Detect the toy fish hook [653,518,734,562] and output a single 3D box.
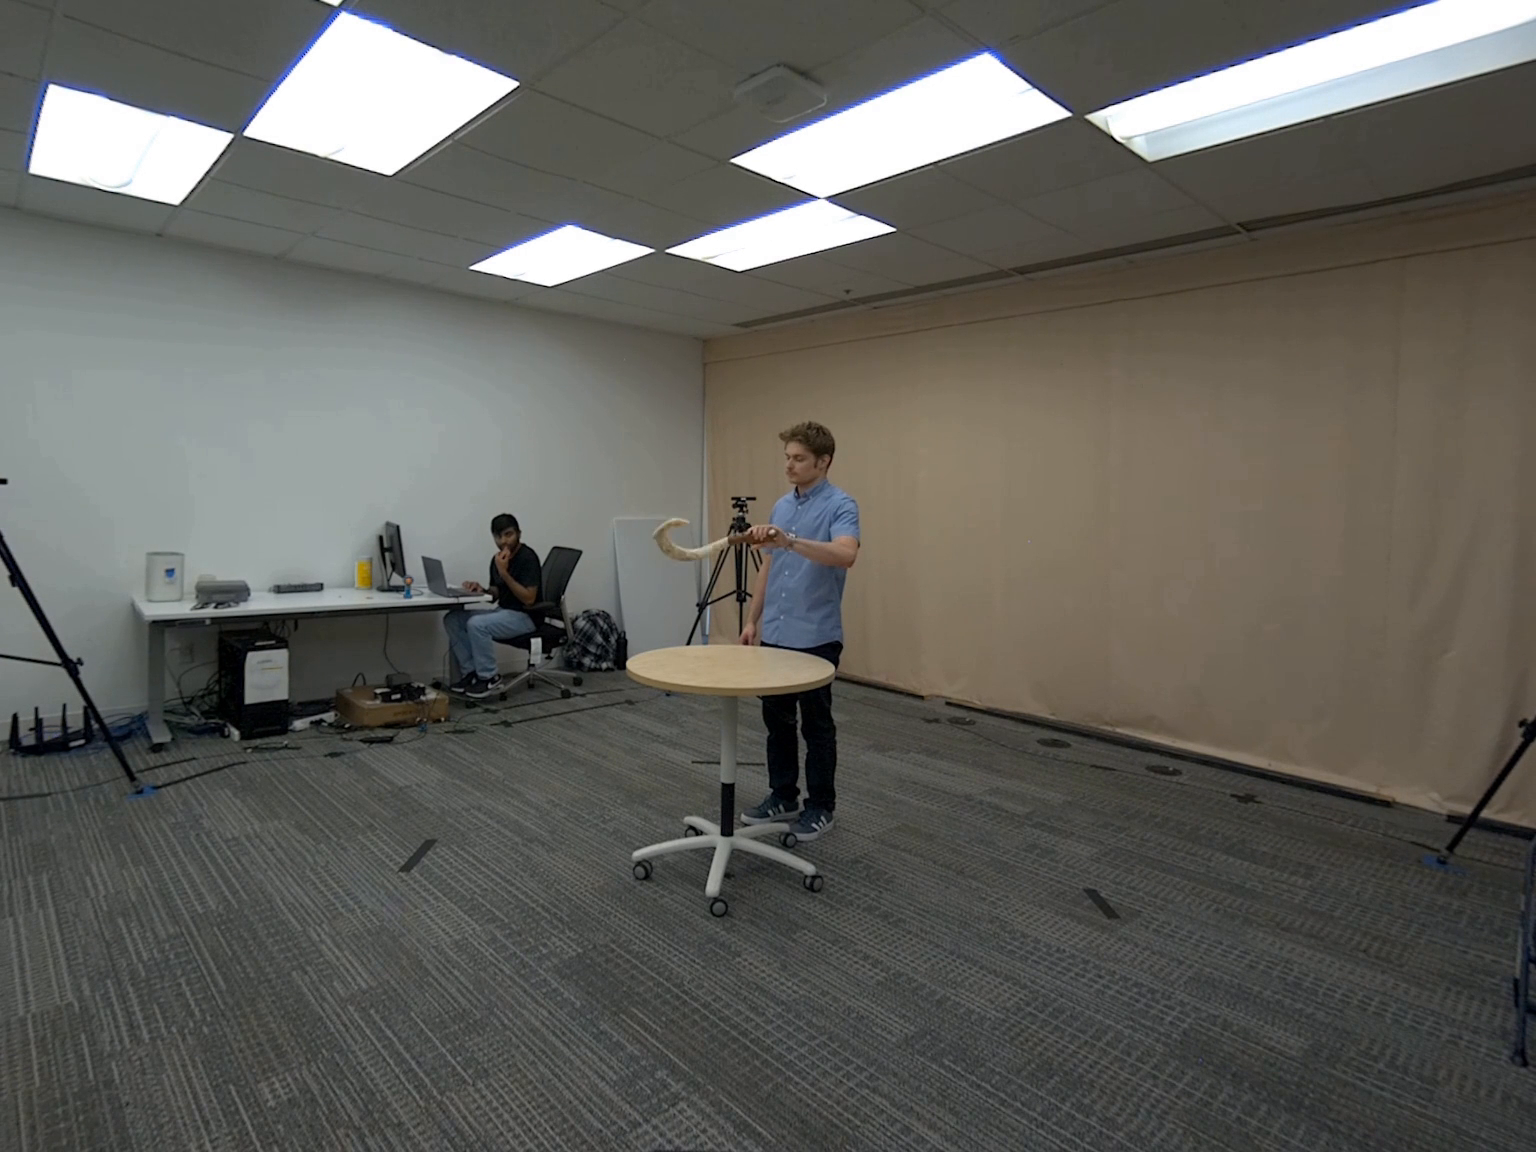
[{"bbox_3d":[-0.211,-0.155,3.190,0.515,0.049,0.217,-9,-43,28],"label":"toy fish hook"}]
